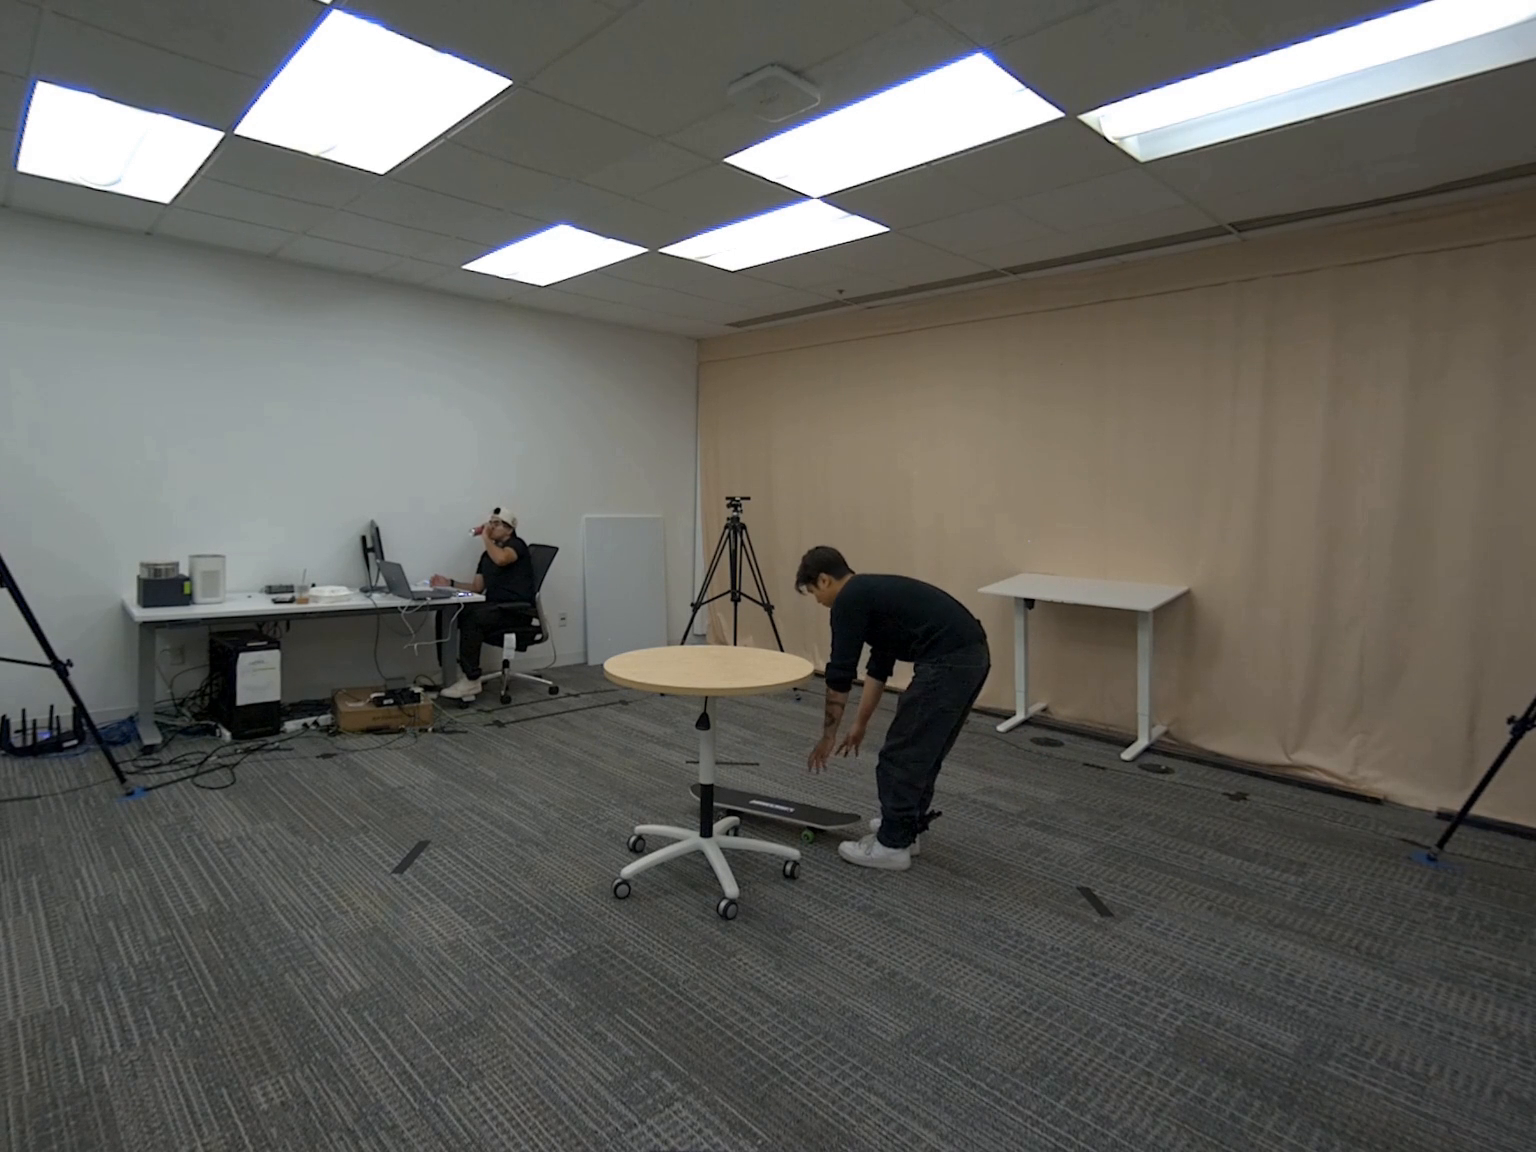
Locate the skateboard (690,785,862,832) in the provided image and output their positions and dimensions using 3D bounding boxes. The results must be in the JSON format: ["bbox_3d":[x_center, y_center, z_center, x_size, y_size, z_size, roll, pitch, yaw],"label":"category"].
[{"bbox_3d":[0.014,1.008,3.596,0.802,0.110,0.190,4,5,28],"label":"skateboard"}]
